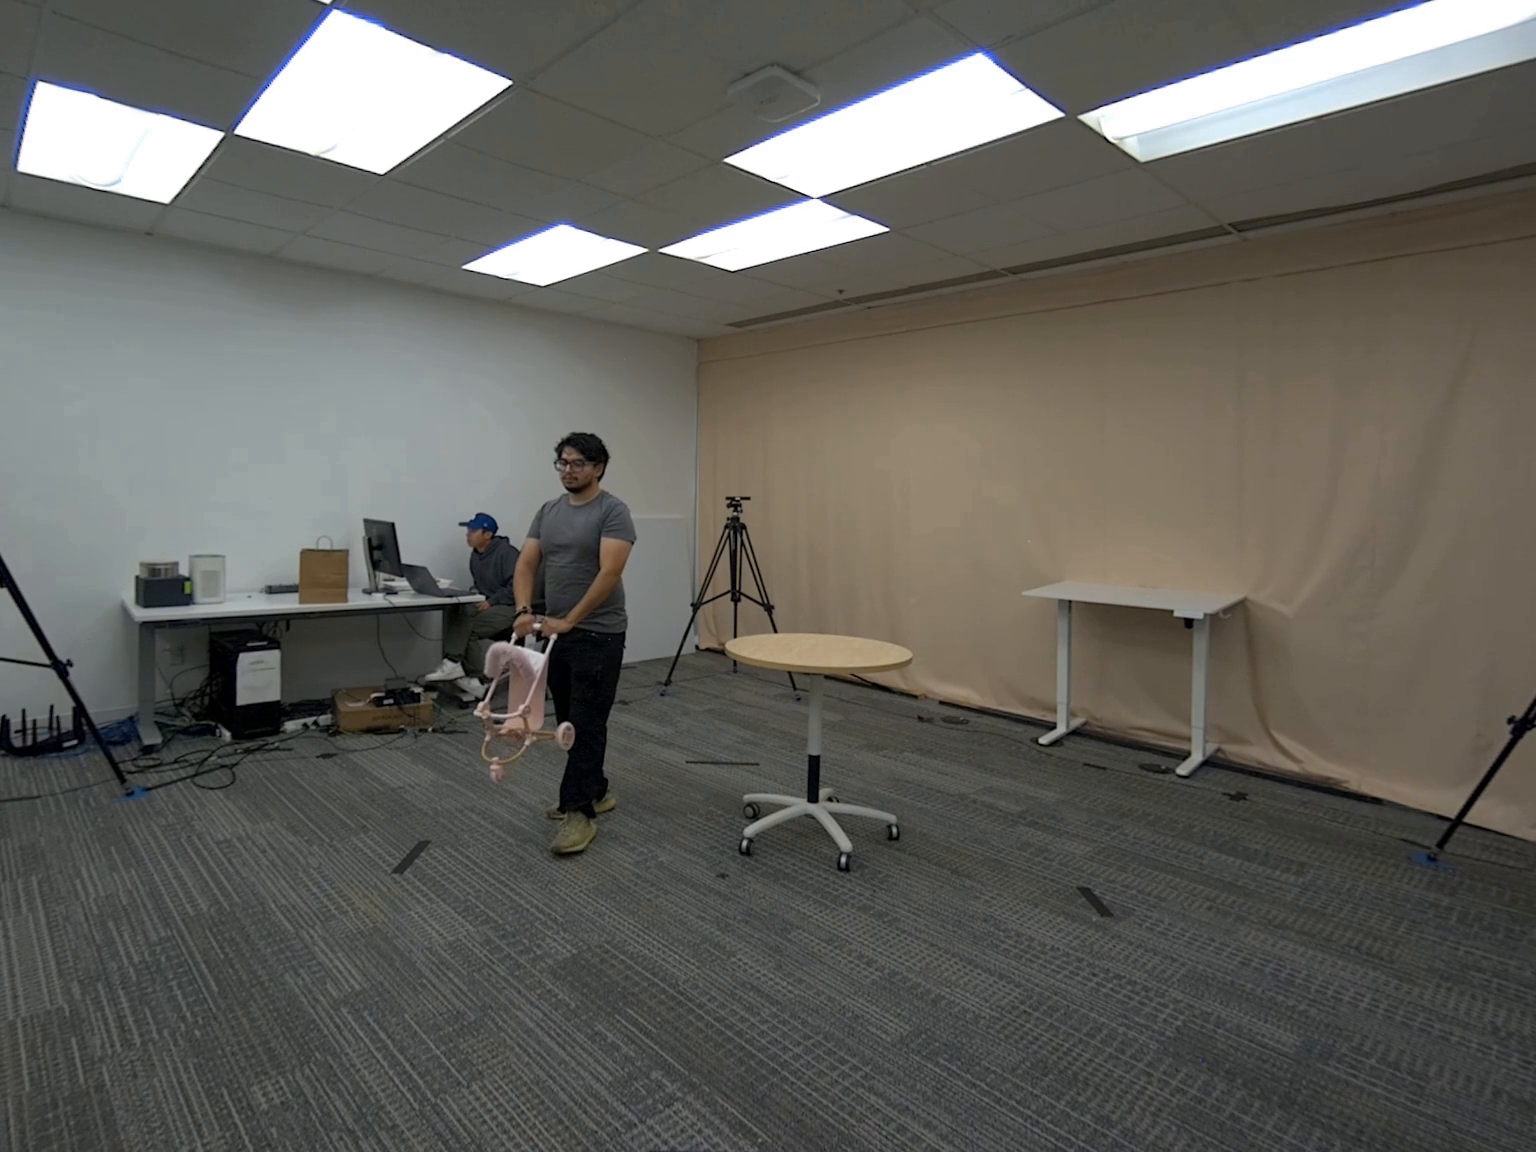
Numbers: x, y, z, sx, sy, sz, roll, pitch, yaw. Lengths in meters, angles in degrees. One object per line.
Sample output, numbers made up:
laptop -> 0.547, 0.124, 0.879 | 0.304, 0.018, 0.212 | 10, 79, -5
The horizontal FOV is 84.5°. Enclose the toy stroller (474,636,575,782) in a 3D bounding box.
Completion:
toy stroller -> -0.959, 0.477, 3.138 | 0.287, 0.533, 0.336 | 1, 6, 29
